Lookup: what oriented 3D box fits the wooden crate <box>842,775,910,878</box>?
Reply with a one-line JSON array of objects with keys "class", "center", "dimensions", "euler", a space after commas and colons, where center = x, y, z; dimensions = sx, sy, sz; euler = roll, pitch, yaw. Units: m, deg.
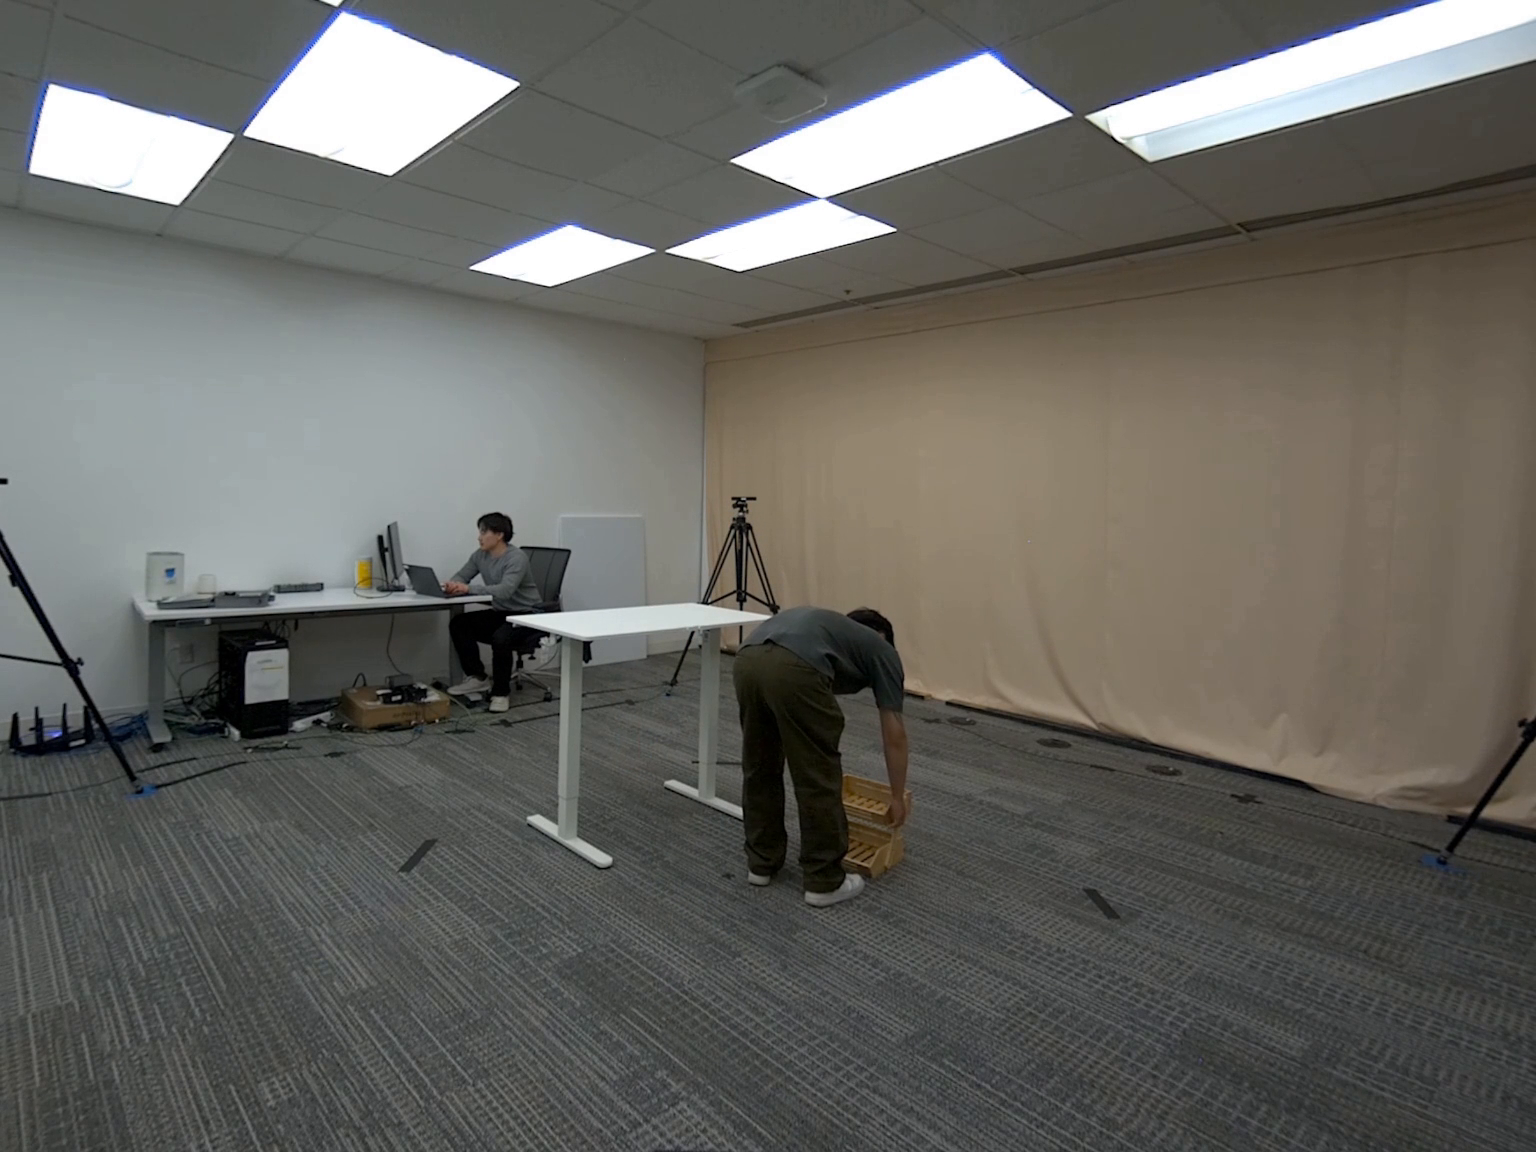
[{"class": "wooden crate", "center": [0.346, 0.967, 3.303], "dimensions": [0.332, 0.273, 0.295], "euler": [5, 4, 39]}]
